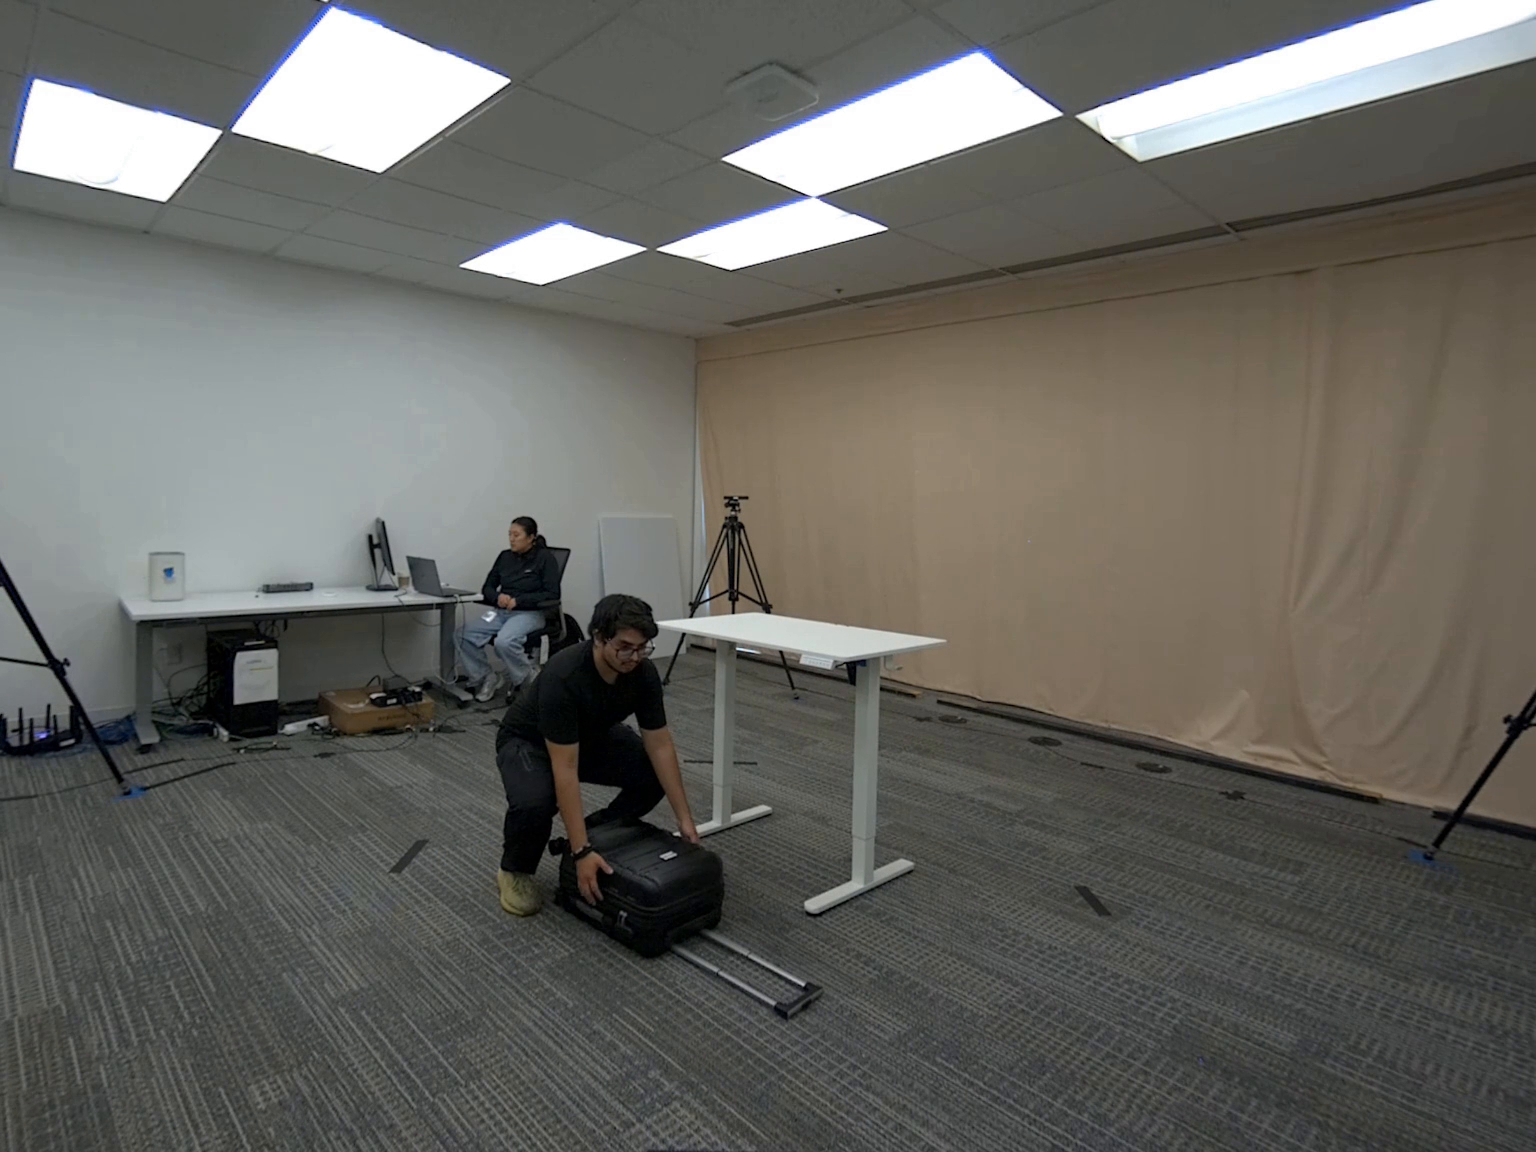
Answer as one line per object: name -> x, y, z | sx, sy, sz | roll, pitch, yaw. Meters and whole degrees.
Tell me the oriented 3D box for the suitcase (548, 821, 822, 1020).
suitcase -> -0.273, 1.023, 2.621 | 1.003, 0.256, 0.375 | 3, 4, 41
